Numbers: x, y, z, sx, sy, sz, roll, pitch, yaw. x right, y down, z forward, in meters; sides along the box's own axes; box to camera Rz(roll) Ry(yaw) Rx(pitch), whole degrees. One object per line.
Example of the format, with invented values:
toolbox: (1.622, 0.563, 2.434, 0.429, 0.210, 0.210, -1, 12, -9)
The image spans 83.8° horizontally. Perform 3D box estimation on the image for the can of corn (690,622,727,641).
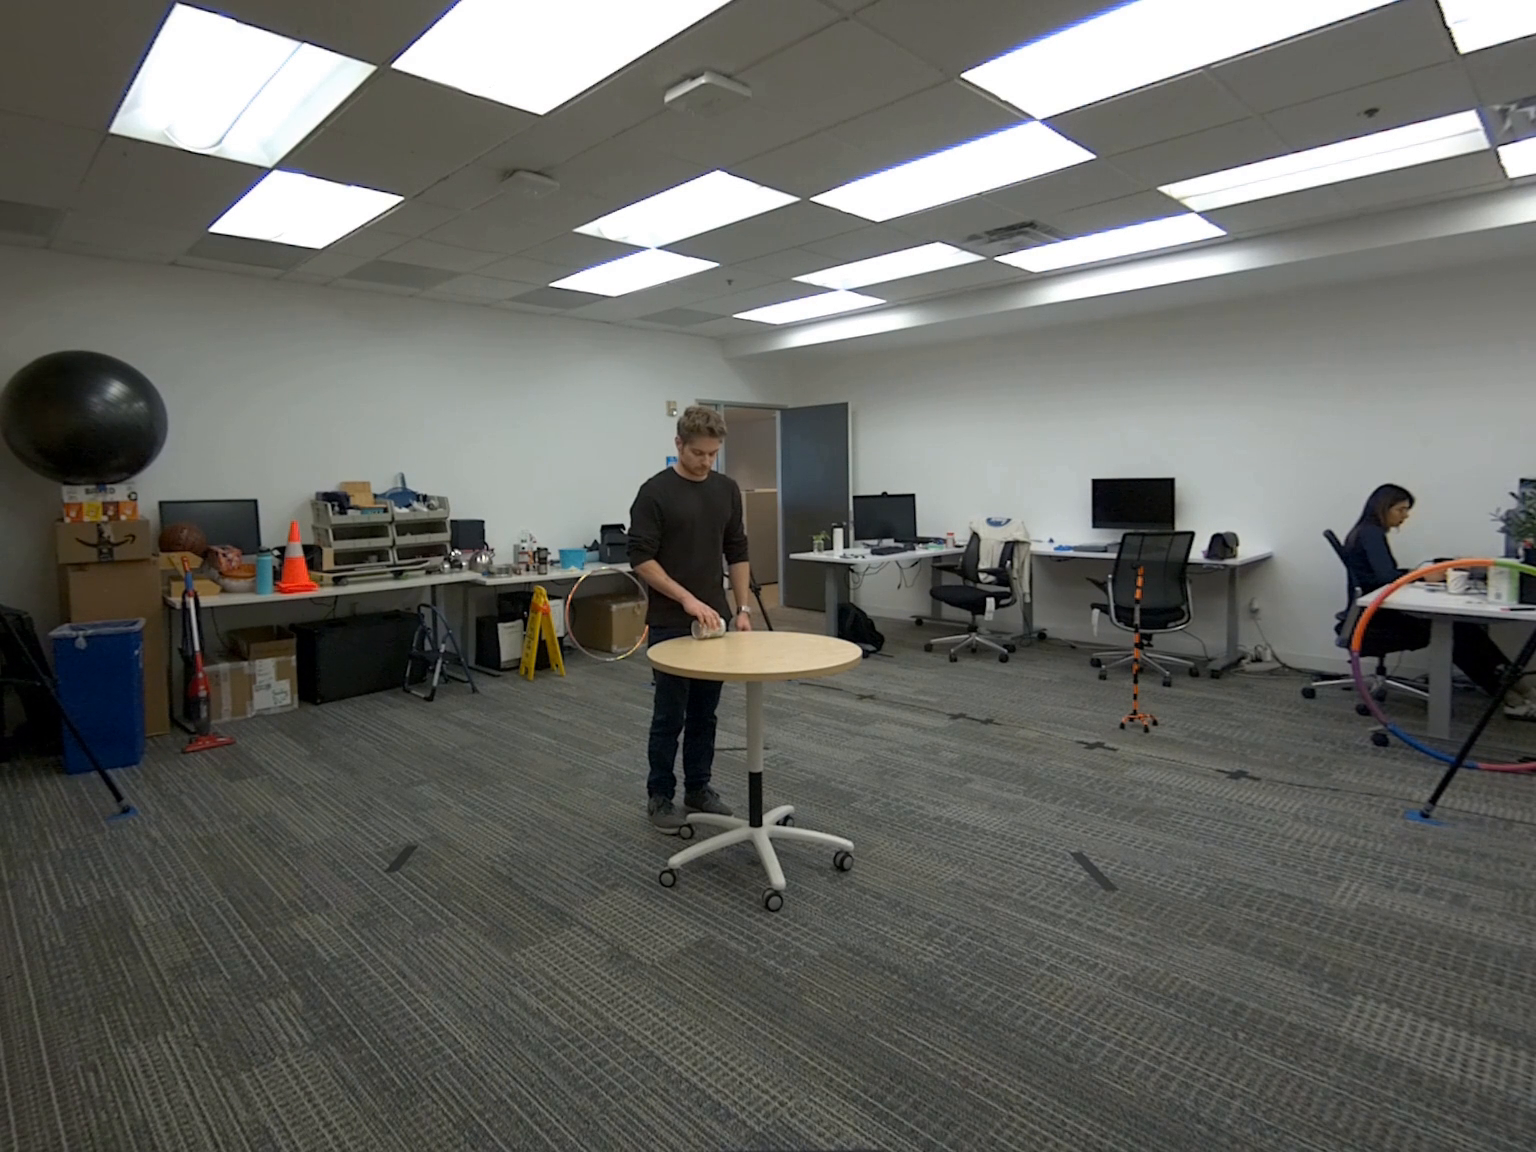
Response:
can of corn: (-0.226, 0.204, 3.305, 0.110, 0.074, 0.075, -2, 5, -7)
